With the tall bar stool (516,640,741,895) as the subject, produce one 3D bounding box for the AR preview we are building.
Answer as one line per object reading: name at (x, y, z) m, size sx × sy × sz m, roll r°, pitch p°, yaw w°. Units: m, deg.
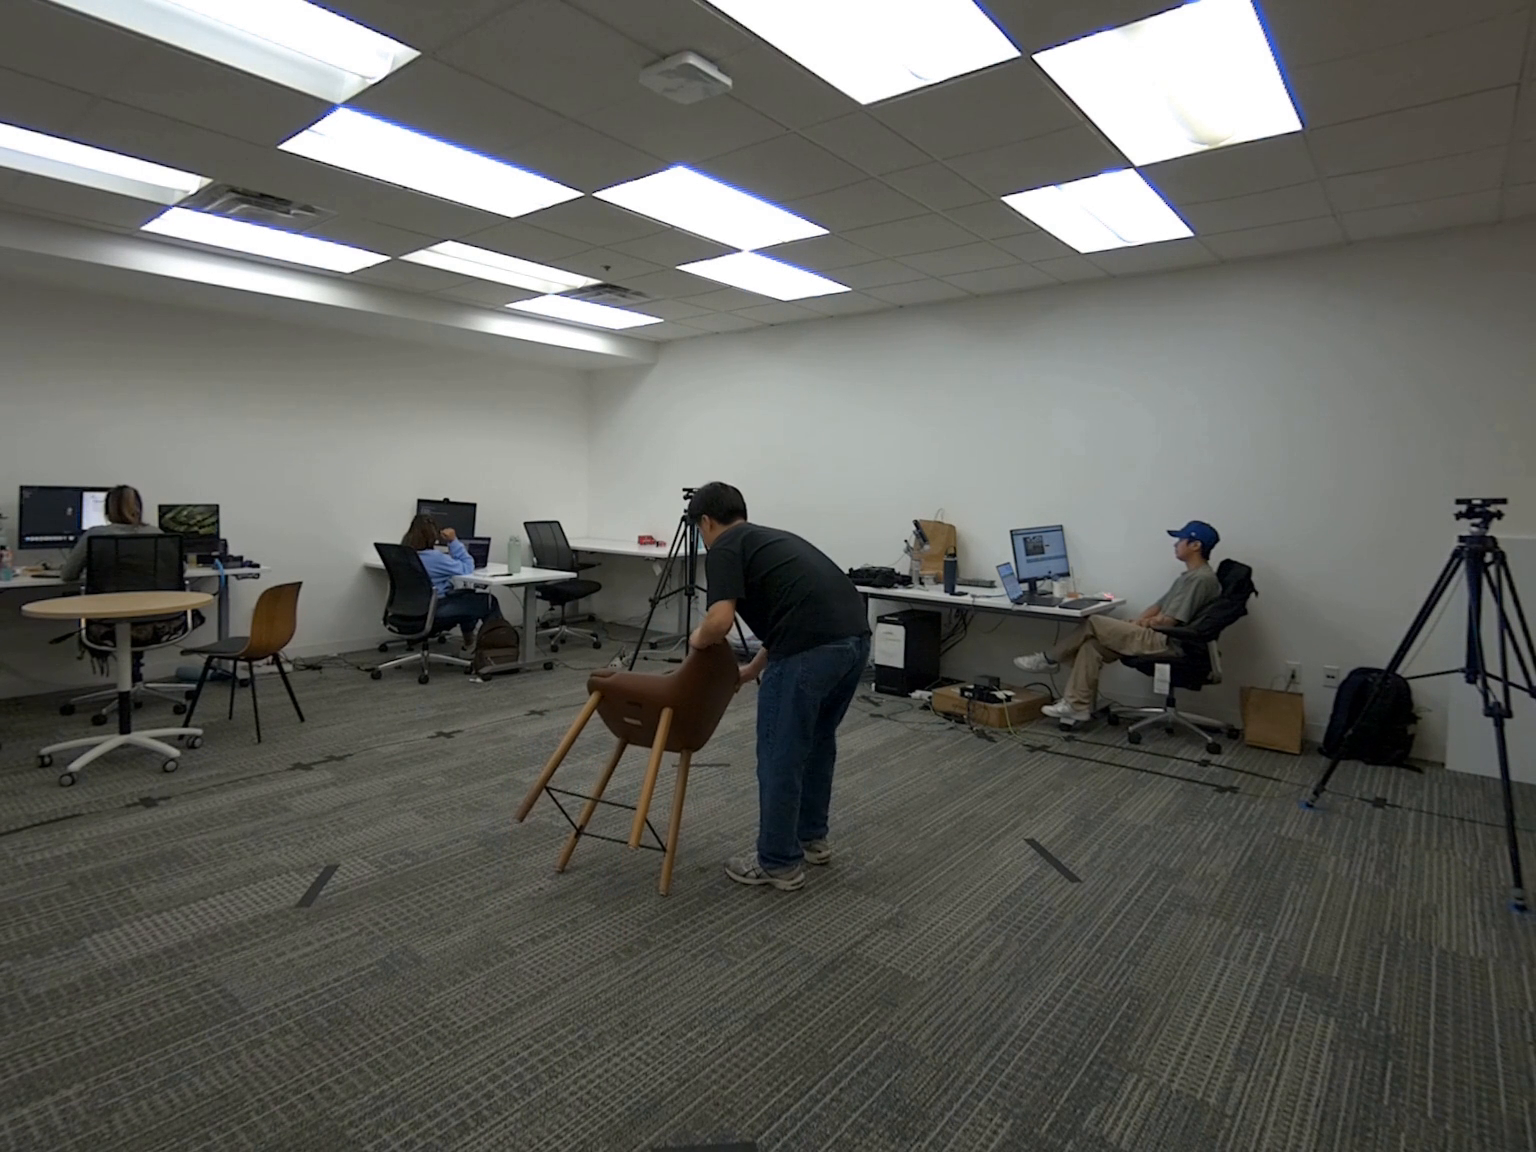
tall bar stool at (-0.482, 0.624, 3.121) m, size 0.479 × 0.902 × 0.439 m, roll 4°, pitch -40°, yaw 21°
